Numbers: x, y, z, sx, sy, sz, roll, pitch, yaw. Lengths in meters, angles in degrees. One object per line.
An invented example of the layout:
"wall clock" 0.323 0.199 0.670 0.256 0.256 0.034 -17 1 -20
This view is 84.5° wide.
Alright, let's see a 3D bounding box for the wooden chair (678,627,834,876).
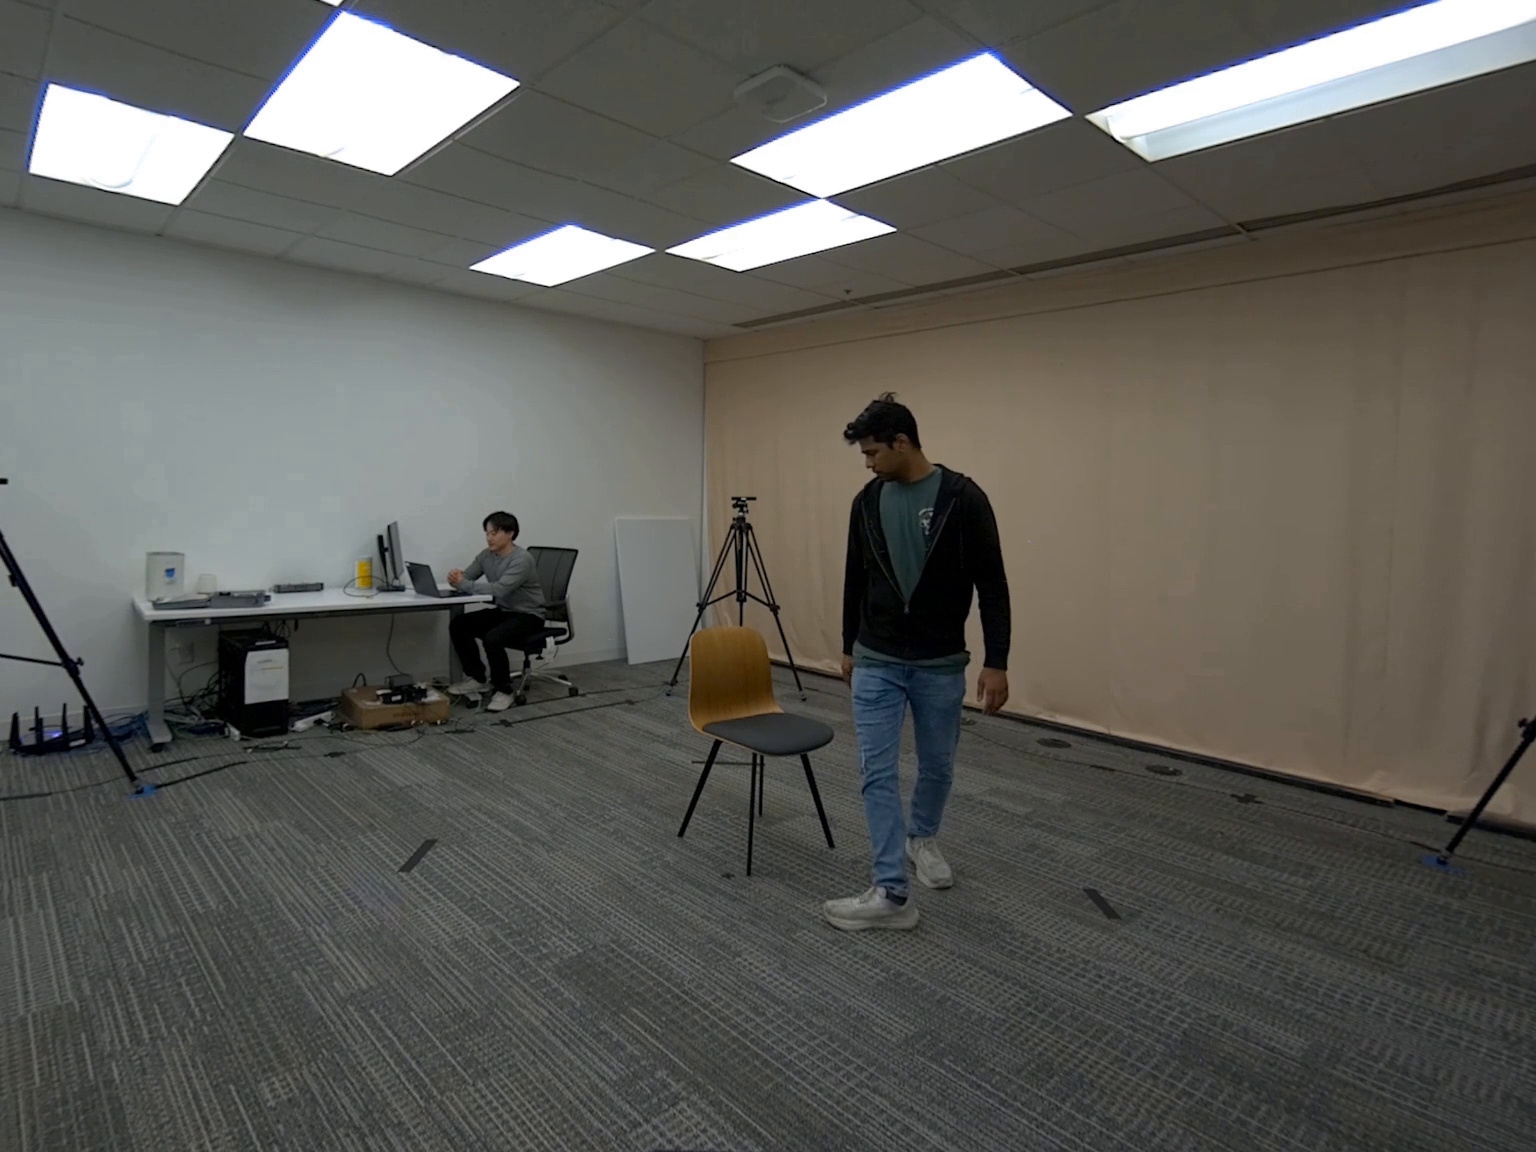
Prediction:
"wooden chair" -0.045 0.659 3.381 0.467 0.878 0.535 -1 0 -40
